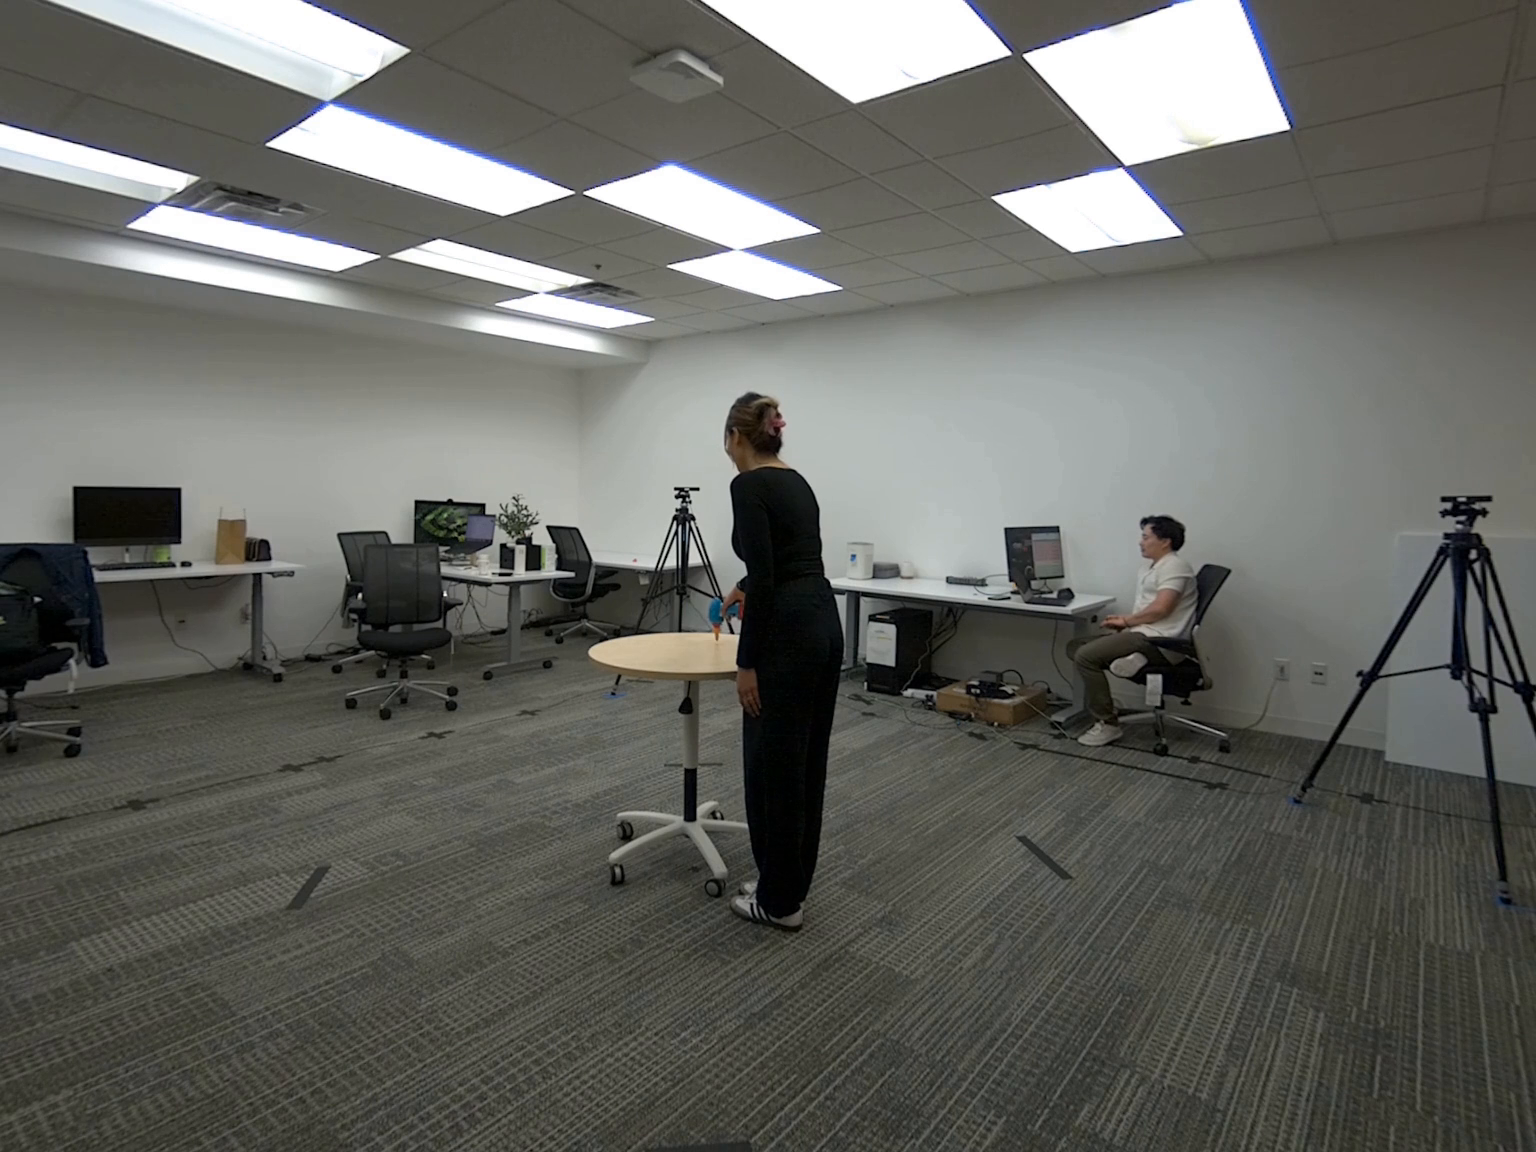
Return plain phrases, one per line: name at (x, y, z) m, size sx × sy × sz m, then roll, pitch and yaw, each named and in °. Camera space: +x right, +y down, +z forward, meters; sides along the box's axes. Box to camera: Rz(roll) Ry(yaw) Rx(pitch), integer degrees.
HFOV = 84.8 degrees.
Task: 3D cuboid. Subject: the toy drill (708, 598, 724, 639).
toy drill at (-0.182, 0.162, 3.311) m, size 0.149 × 0.170 × 0.059 m, roll 0°, pitch -2°, yaw 24°
